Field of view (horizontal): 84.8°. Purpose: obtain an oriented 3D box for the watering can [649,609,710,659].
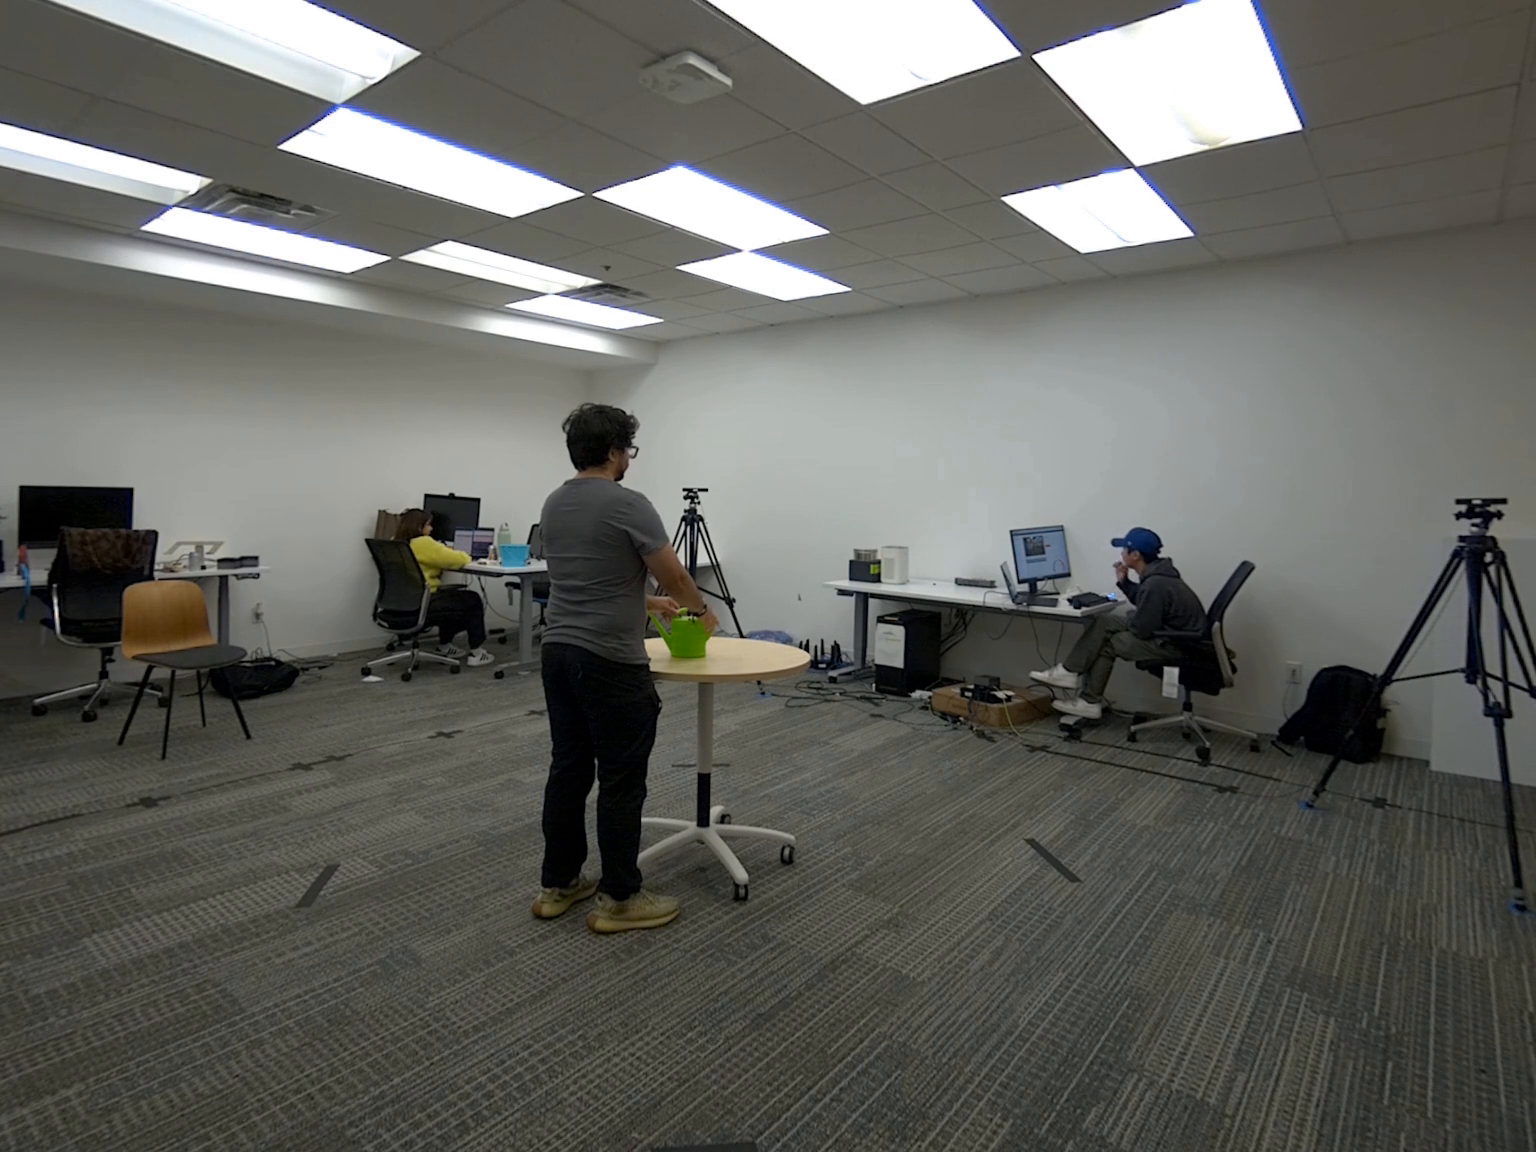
[{"bbox_3d":[-0.338,0.204,3.089,0.280,0.176,0.098,2,4,5],"label":"watering can"}]
